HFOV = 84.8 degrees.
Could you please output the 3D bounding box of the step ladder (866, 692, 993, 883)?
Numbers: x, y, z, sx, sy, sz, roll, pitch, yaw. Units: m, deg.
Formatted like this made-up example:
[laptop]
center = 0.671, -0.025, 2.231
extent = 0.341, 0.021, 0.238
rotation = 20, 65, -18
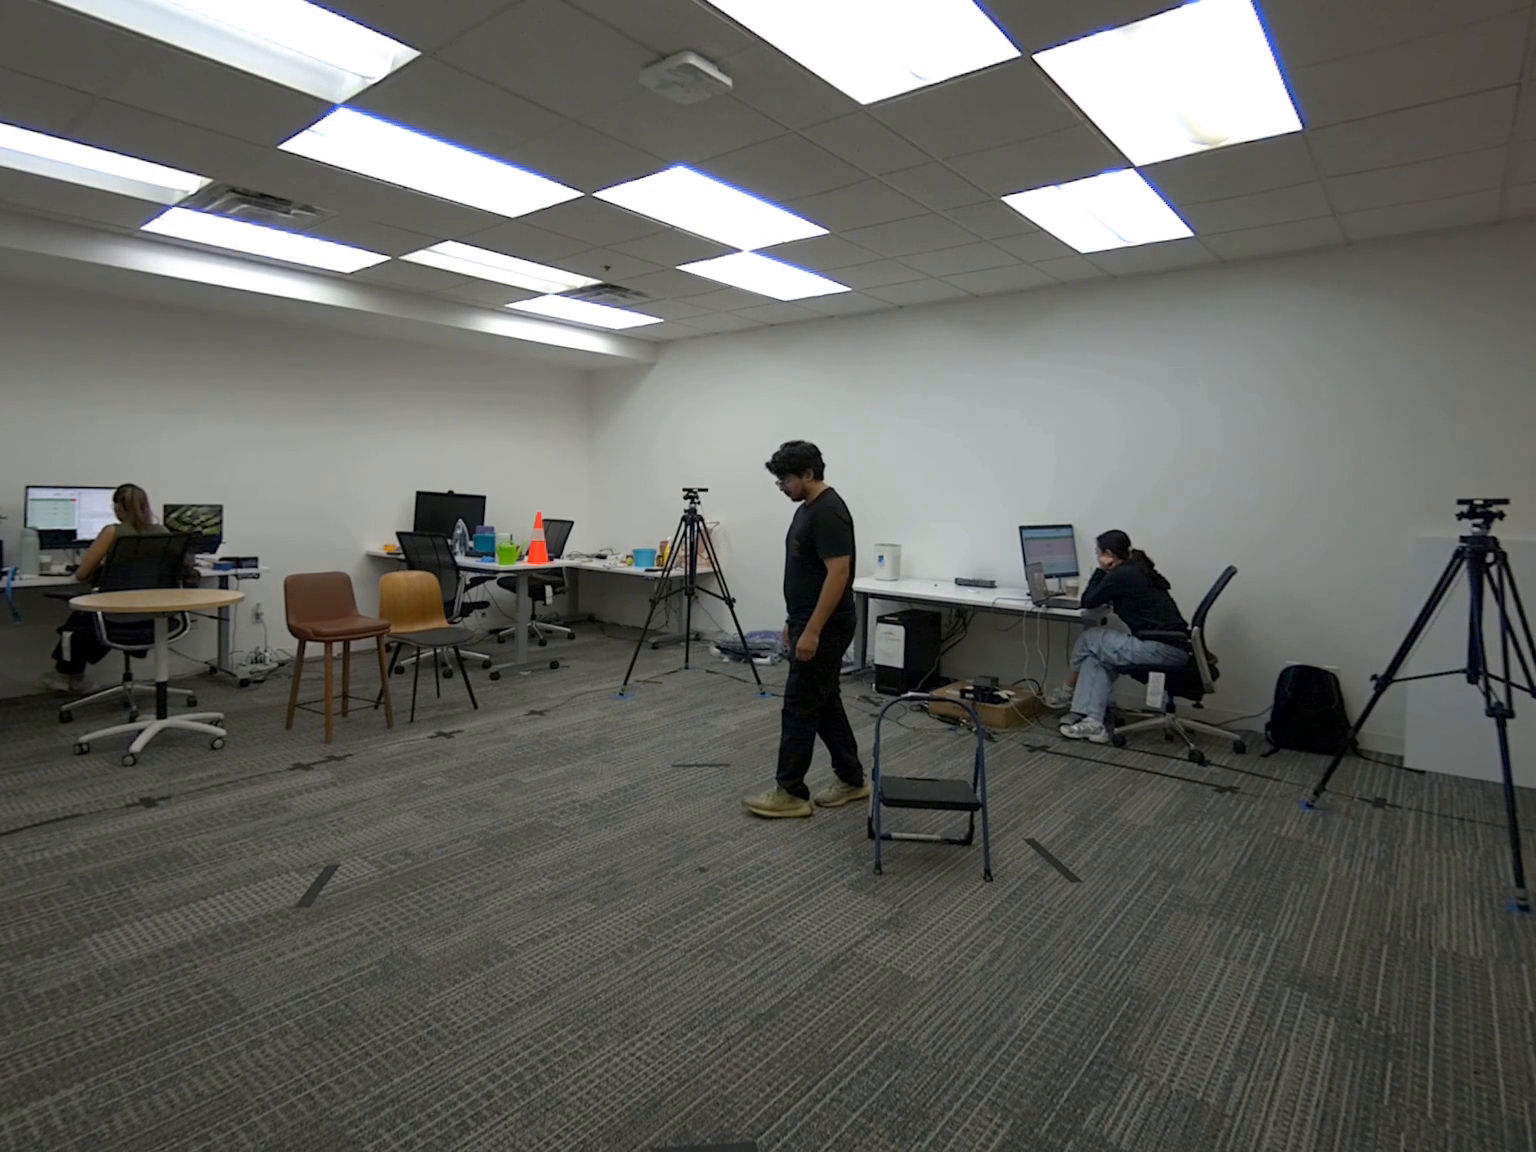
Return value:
[step ladder]
center = 0.610, 0.775, 3.243
extent = 0.432, 0.604, 0.349
rotation = 2, 3, 3
